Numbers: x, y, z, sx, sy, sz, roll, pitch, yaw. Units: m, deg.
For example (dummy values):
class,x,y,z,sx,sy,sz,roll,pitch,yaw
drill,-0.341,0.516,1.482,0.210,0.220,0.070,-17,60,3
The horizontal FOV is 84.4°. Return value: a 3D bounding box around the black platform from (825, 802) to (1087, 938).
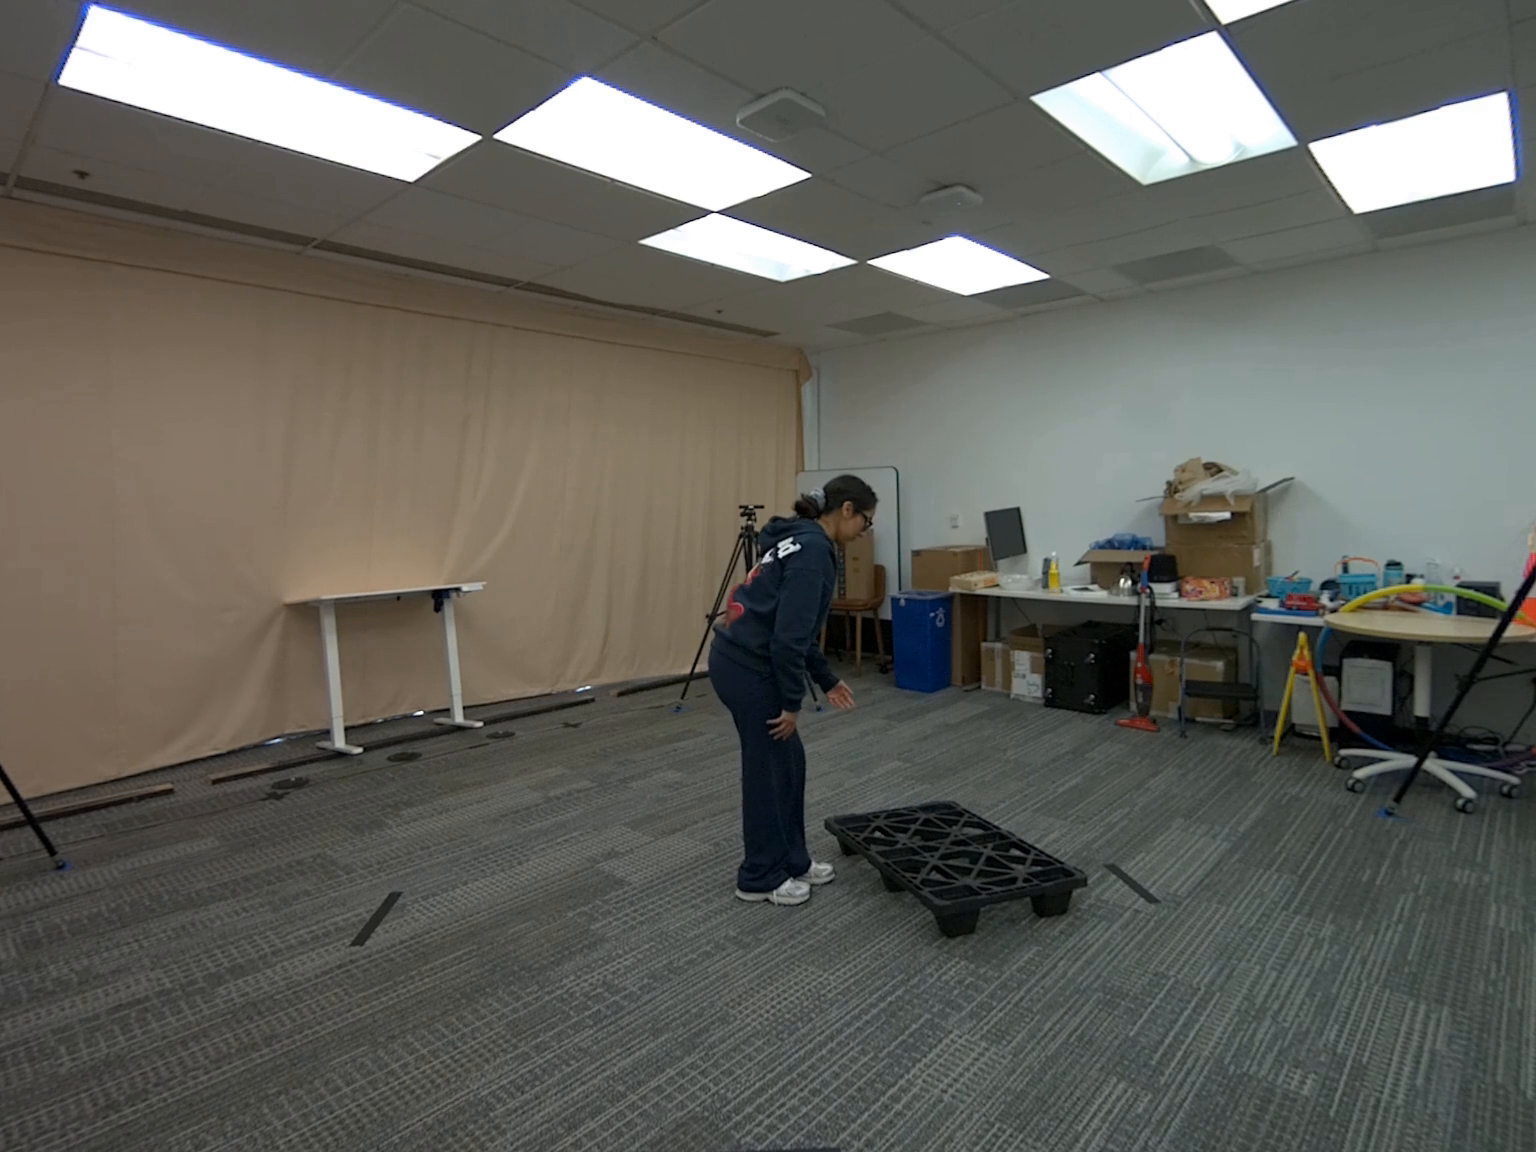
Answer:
class,x,y,z,sx,sy,sz,roll,pitch,yaw
black platform,0.654,1.054,3.089,0.593,0.143,0.824,-3,5,-21
